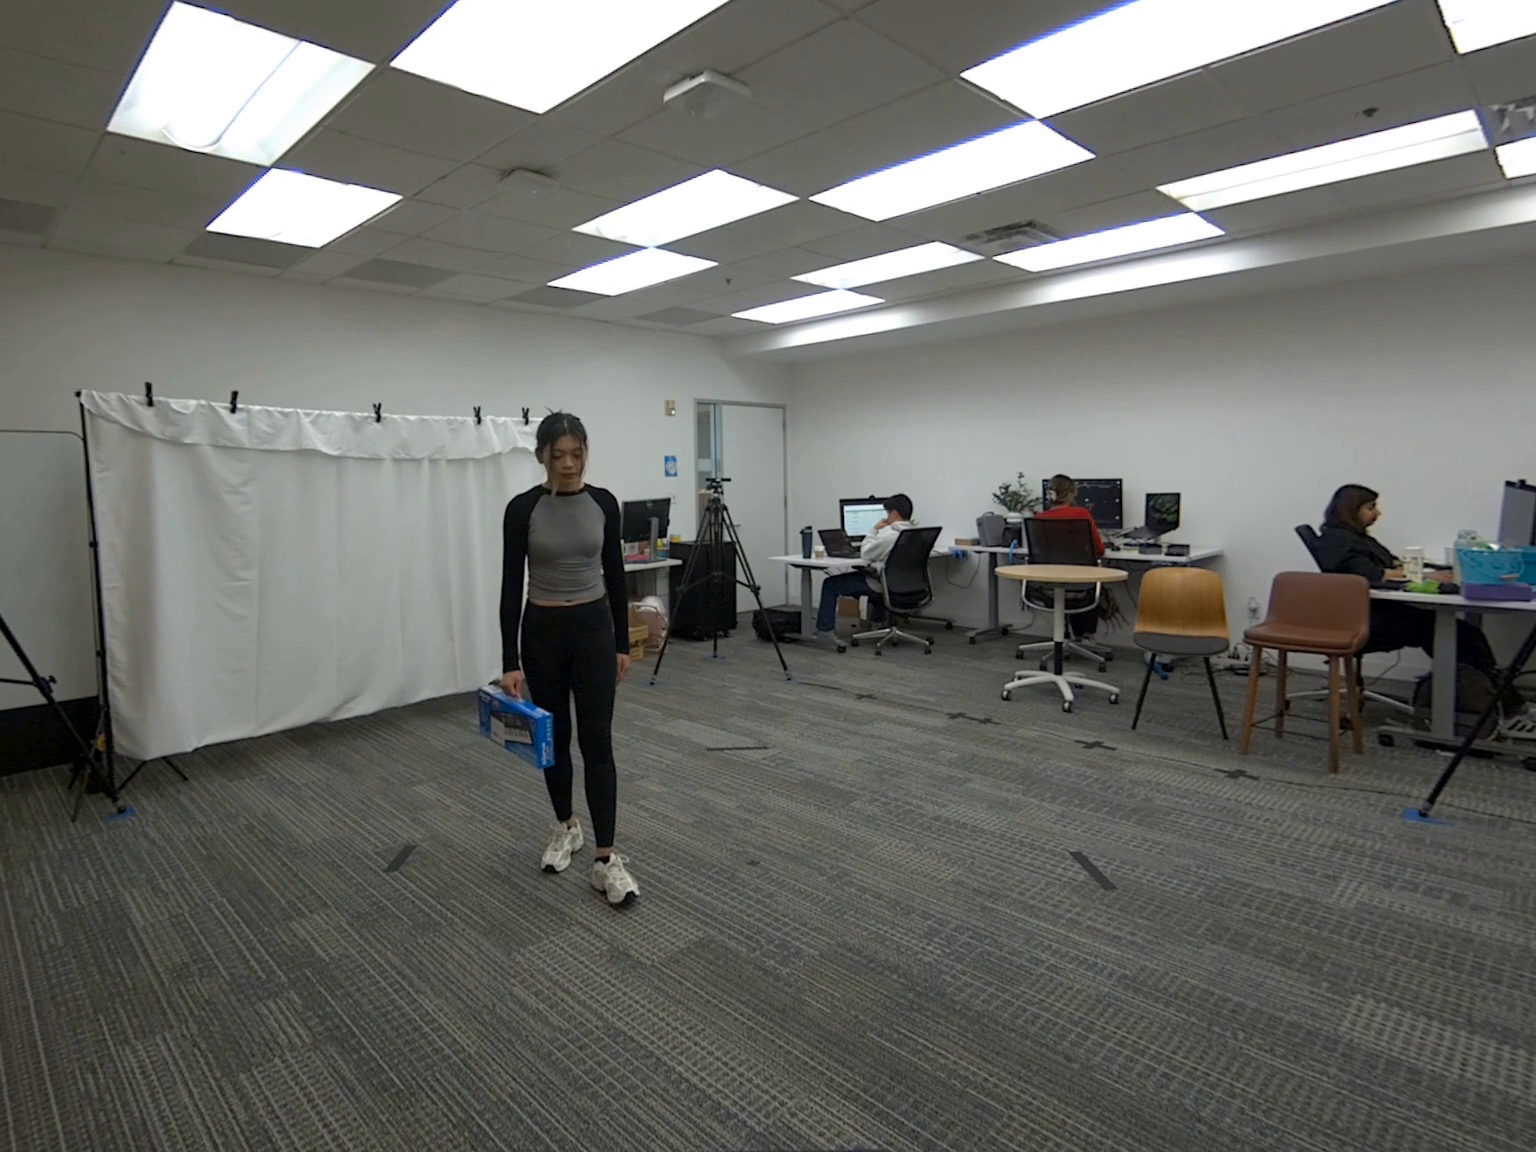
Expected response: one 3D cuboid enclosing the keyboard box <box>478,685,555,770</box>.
[{"bbox_3d":[-0.860,0.507,2.908,0.057,0.175,0.451,-6,11,-41],"label":"keyboard box"}]
